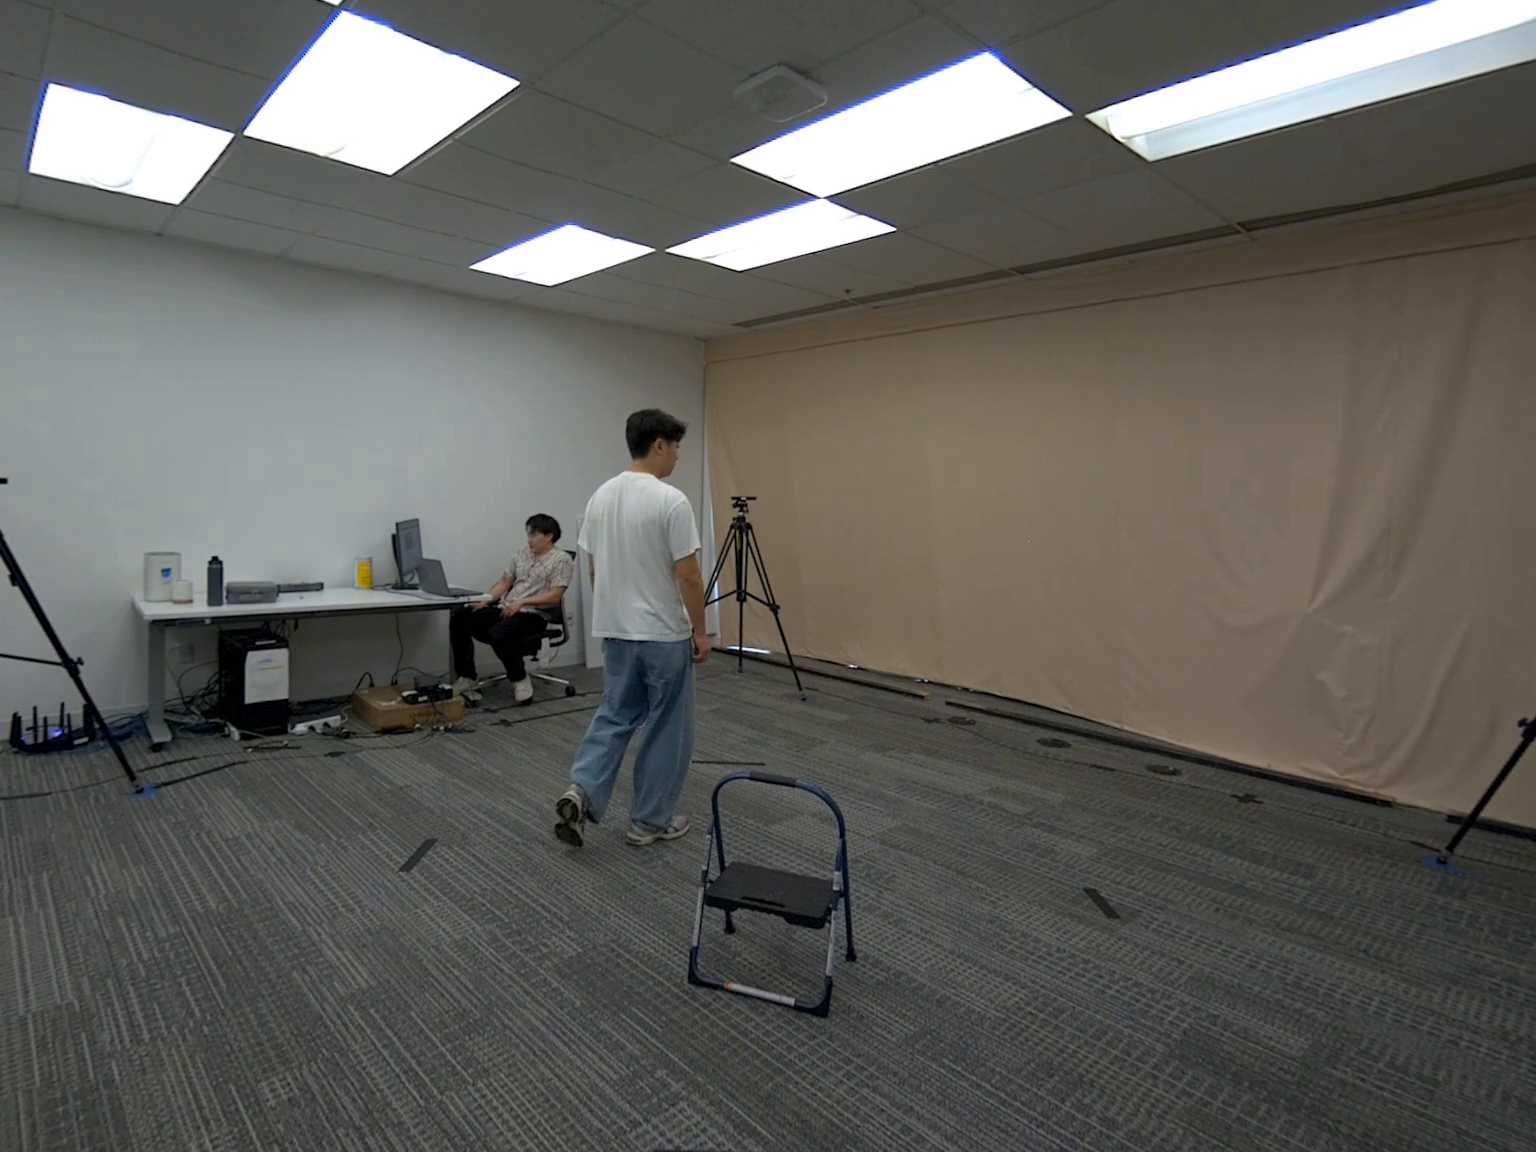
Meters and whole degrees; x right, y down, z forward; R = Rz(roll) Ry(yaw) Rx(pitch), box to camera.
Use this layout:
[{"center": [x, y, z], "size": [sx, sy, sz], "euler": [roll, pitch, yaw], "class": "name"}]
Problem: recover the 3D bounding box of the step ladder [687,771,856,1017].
[{"center": [0.021, 0.865, 2.474], "size": [0.437, 0.604, 0.344], "euler": [3, 4, 19], "class": "step ladder"}]
